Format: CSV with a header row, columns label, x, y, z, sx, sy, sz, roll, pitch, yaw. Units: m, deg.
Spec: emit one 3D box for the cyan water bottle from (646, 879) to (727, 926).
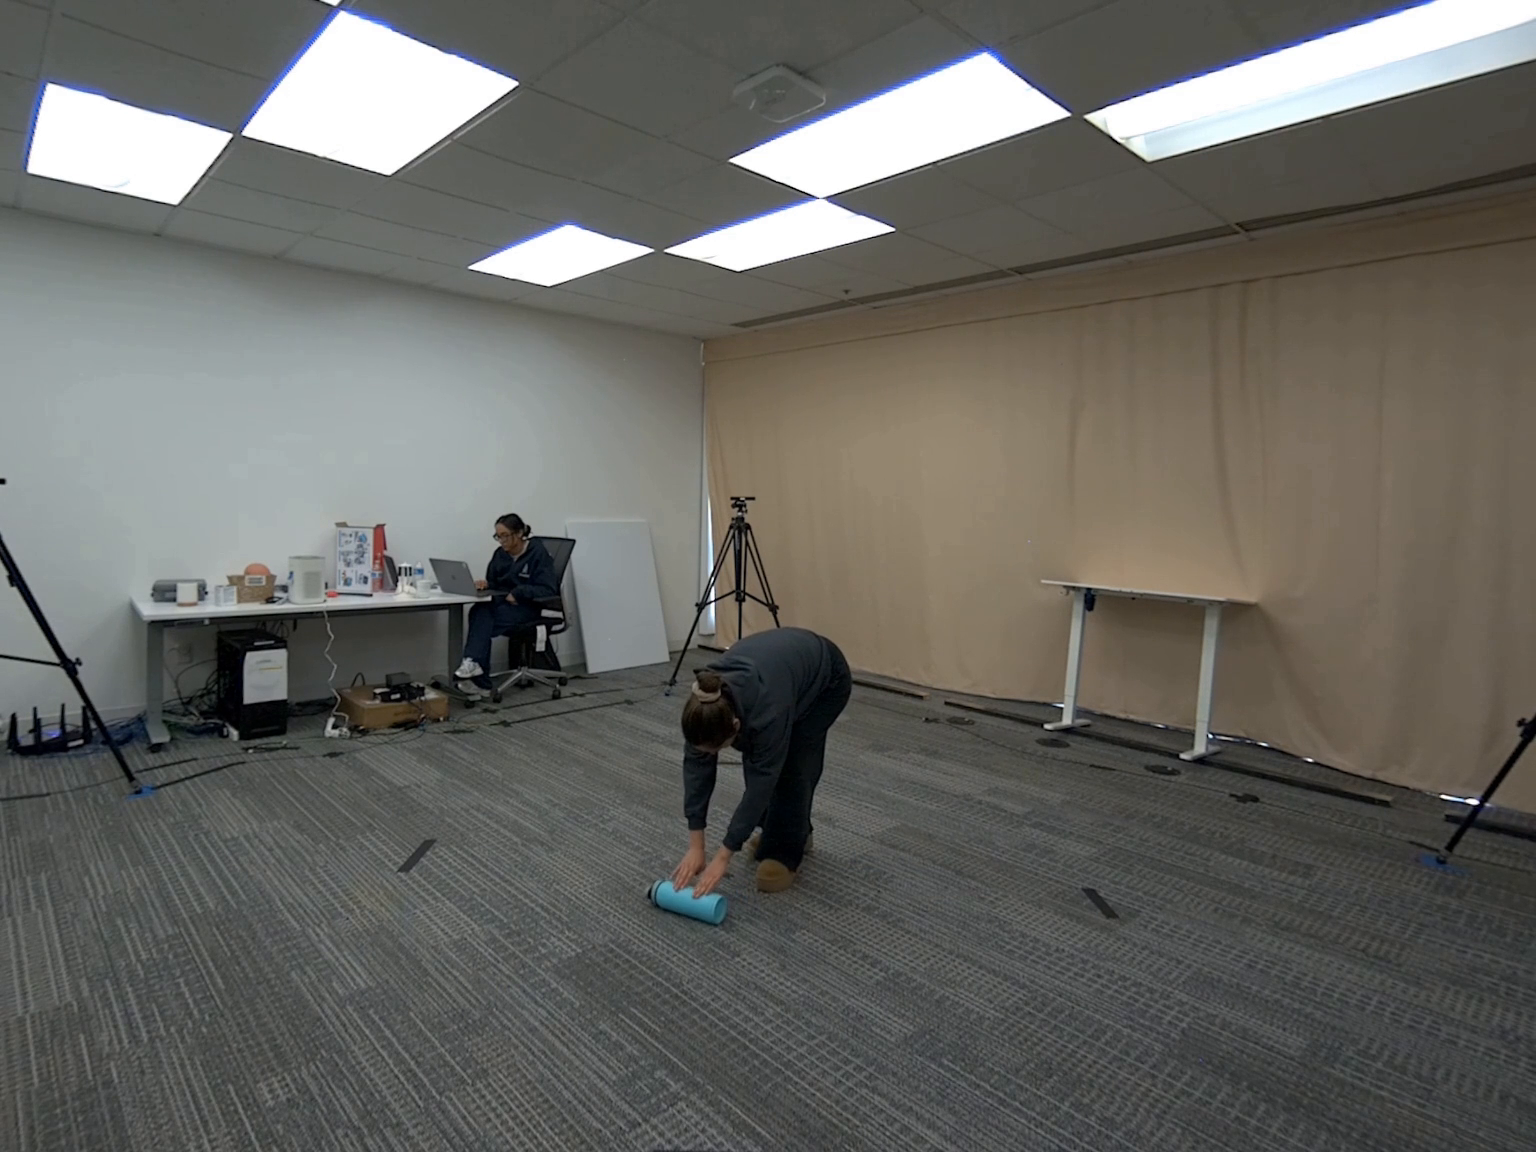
label,x,y,z,sx,sy,sz,roll,pitch,yaw
cyan water bottle,-0.282,1.087,2.827,0.289,0.092,0.090,4,5,29
